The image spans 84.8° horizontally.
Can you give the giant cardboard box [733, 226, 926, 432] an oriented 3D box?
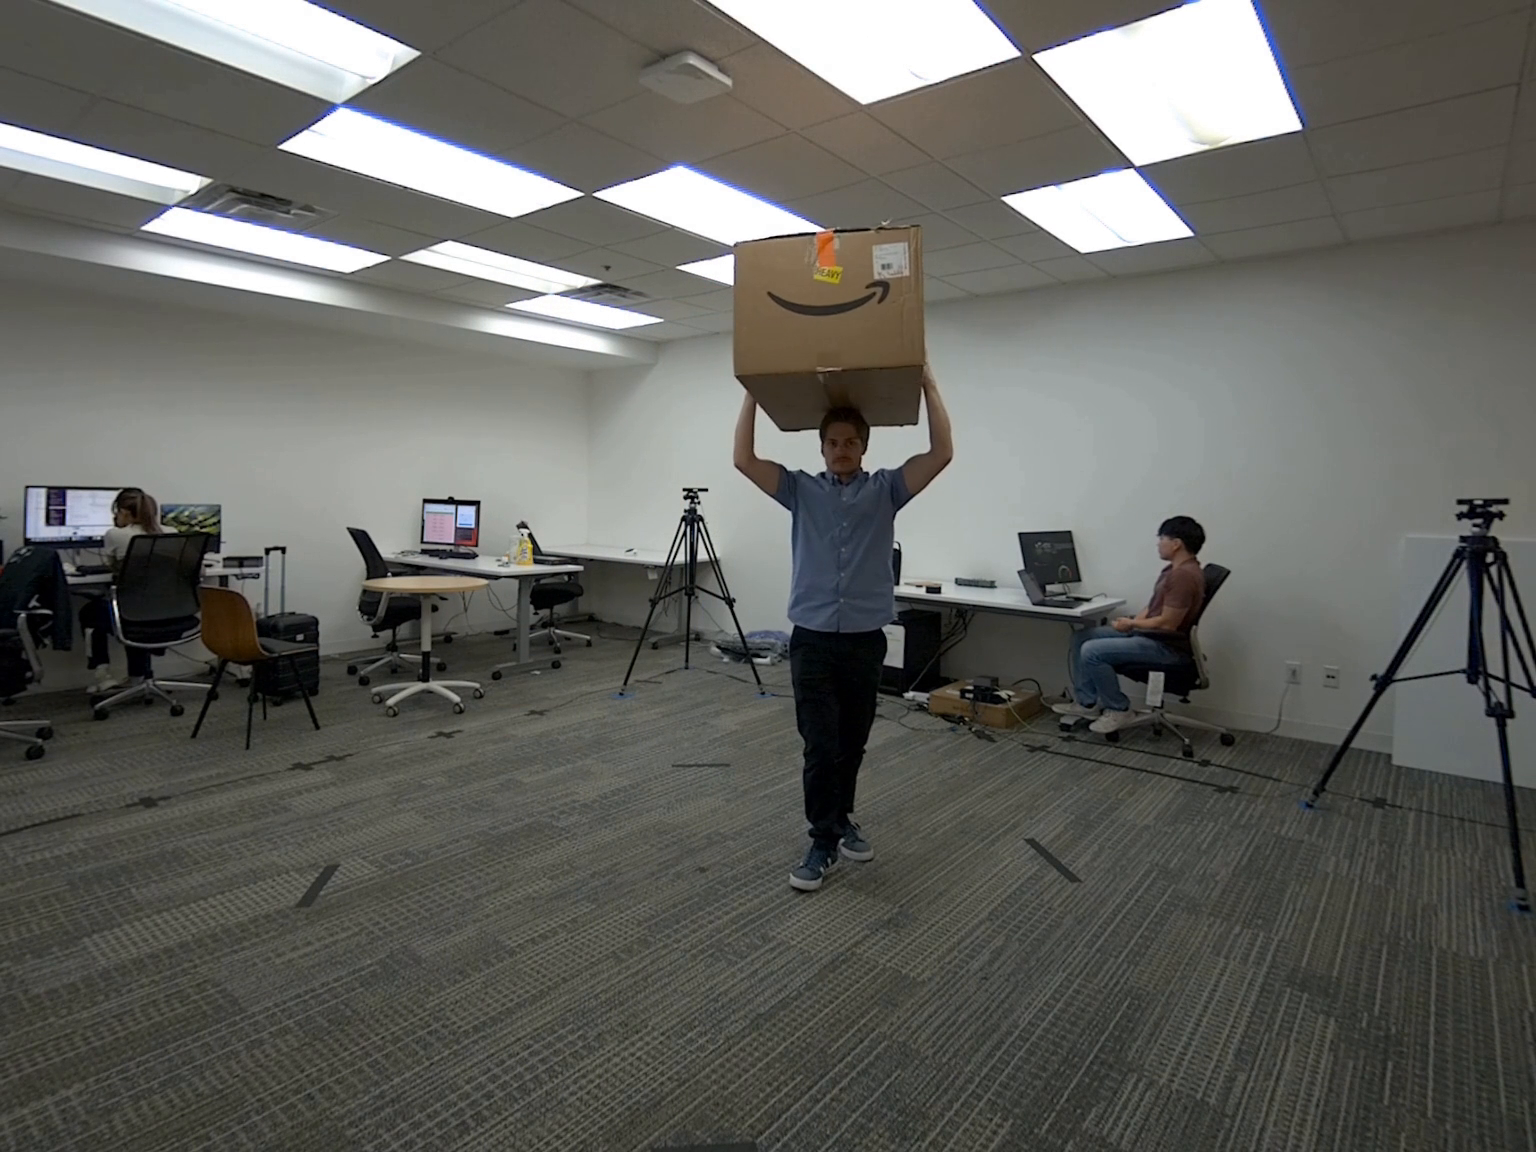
[{"bbox_3d":[0.242,-0.828,3.046,0.584,0.427,1.013,-1,0,10],"label":"giant cardboard box"}]
